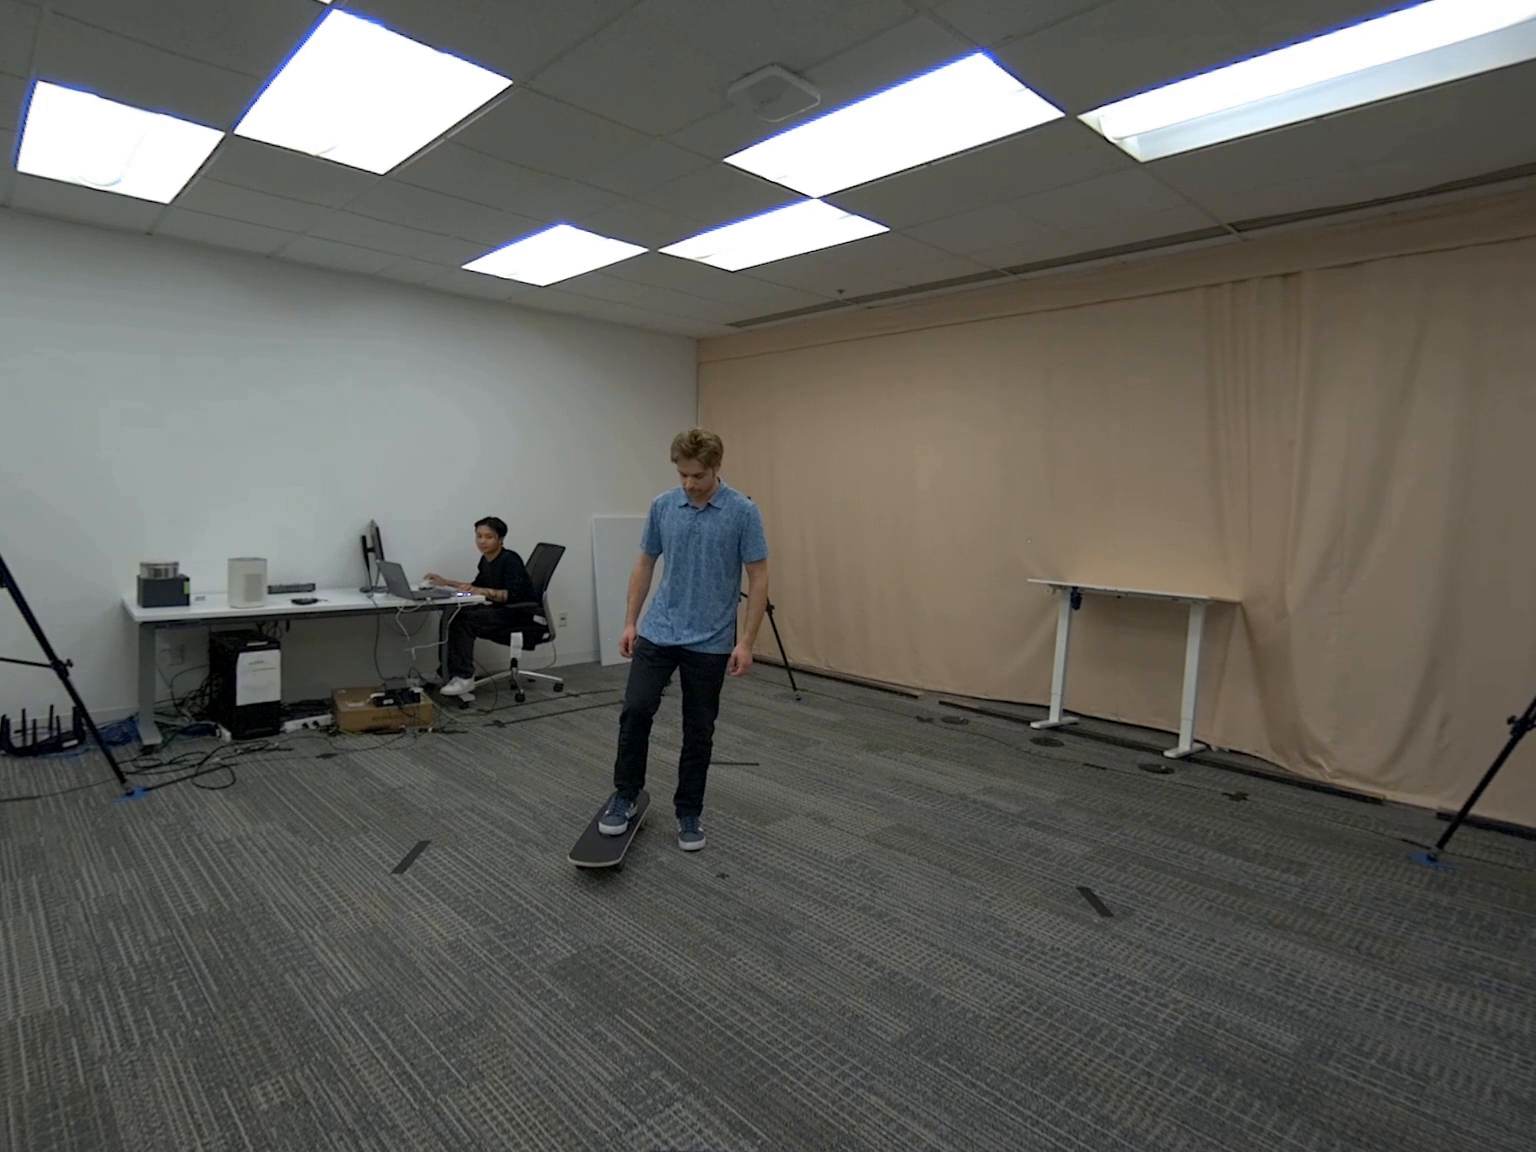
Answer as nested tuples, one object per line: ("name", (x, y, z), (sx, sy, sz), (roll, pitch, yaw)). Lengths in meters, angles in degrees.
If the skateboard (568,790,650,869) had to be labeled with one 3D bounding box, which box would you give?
("skateboard", (-0.612, 1.011, 3.325), (0.194, 0.110, 0.785), (3, 5, 3))
